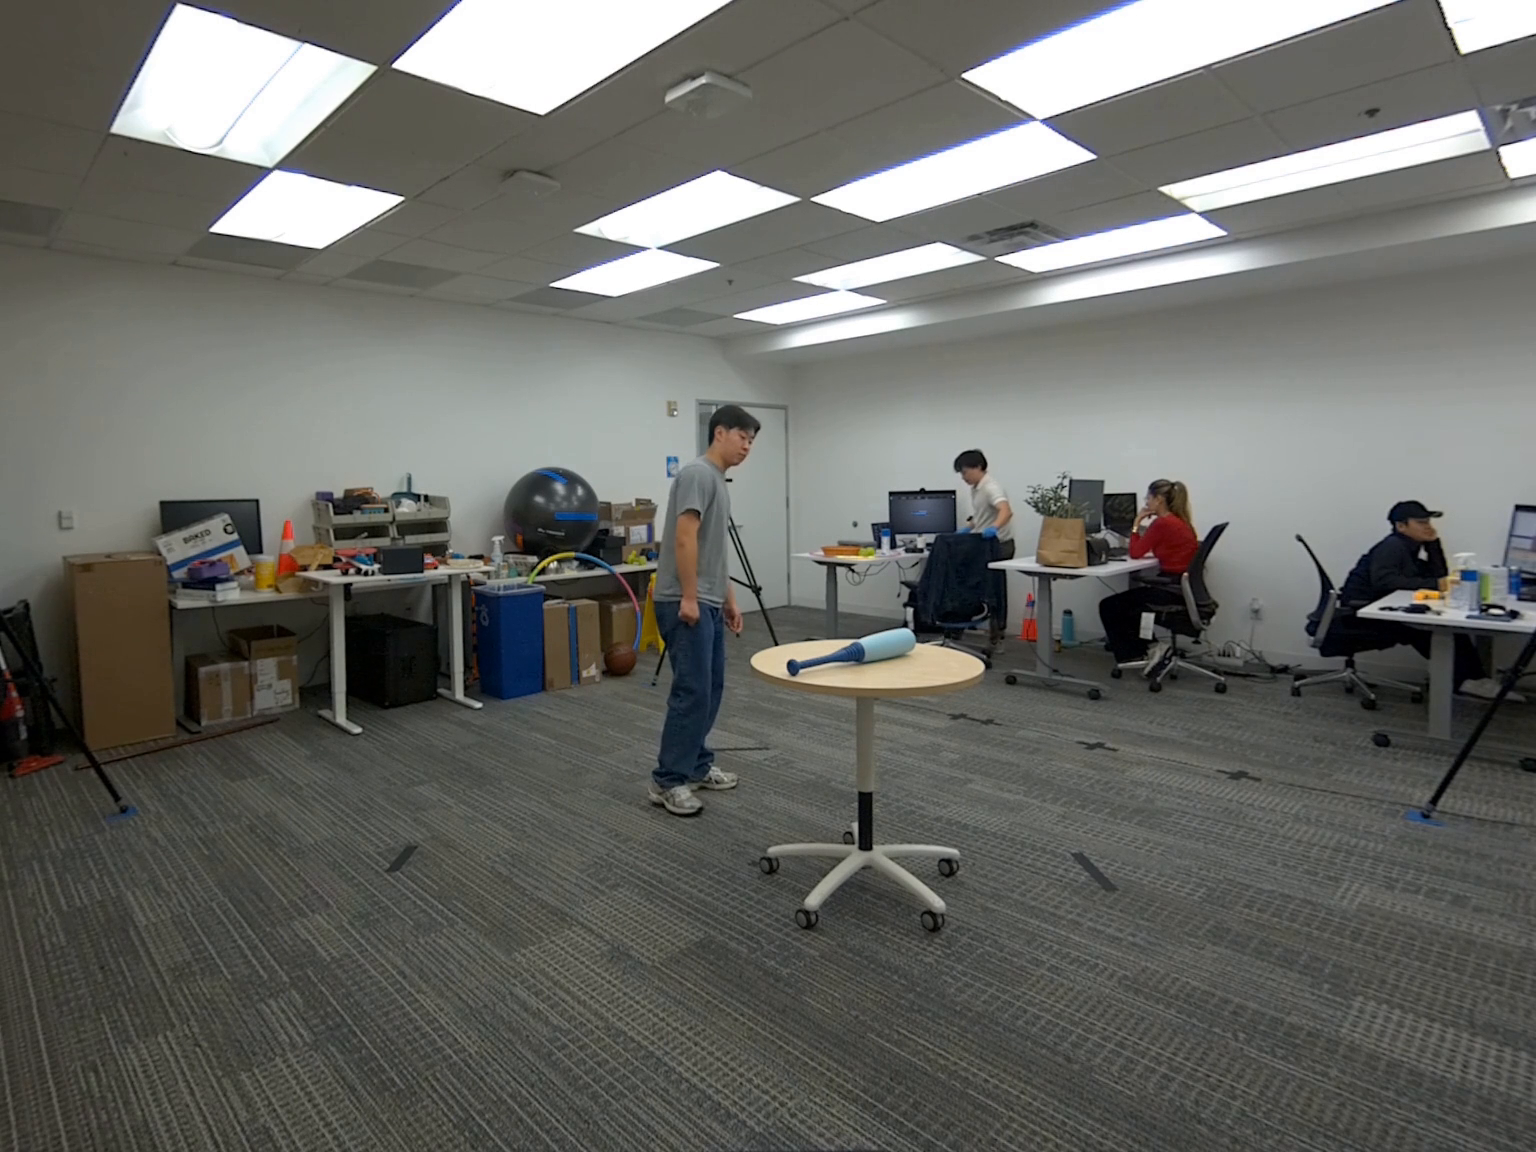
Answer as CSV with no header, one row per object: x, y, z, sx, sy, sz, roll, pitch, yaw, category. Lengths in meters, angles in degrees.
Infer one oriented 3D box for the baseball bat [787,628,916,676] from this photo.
0.279,0.254,2.796,0.530,0.088,0.092,-9,9,-37,baseball bat
